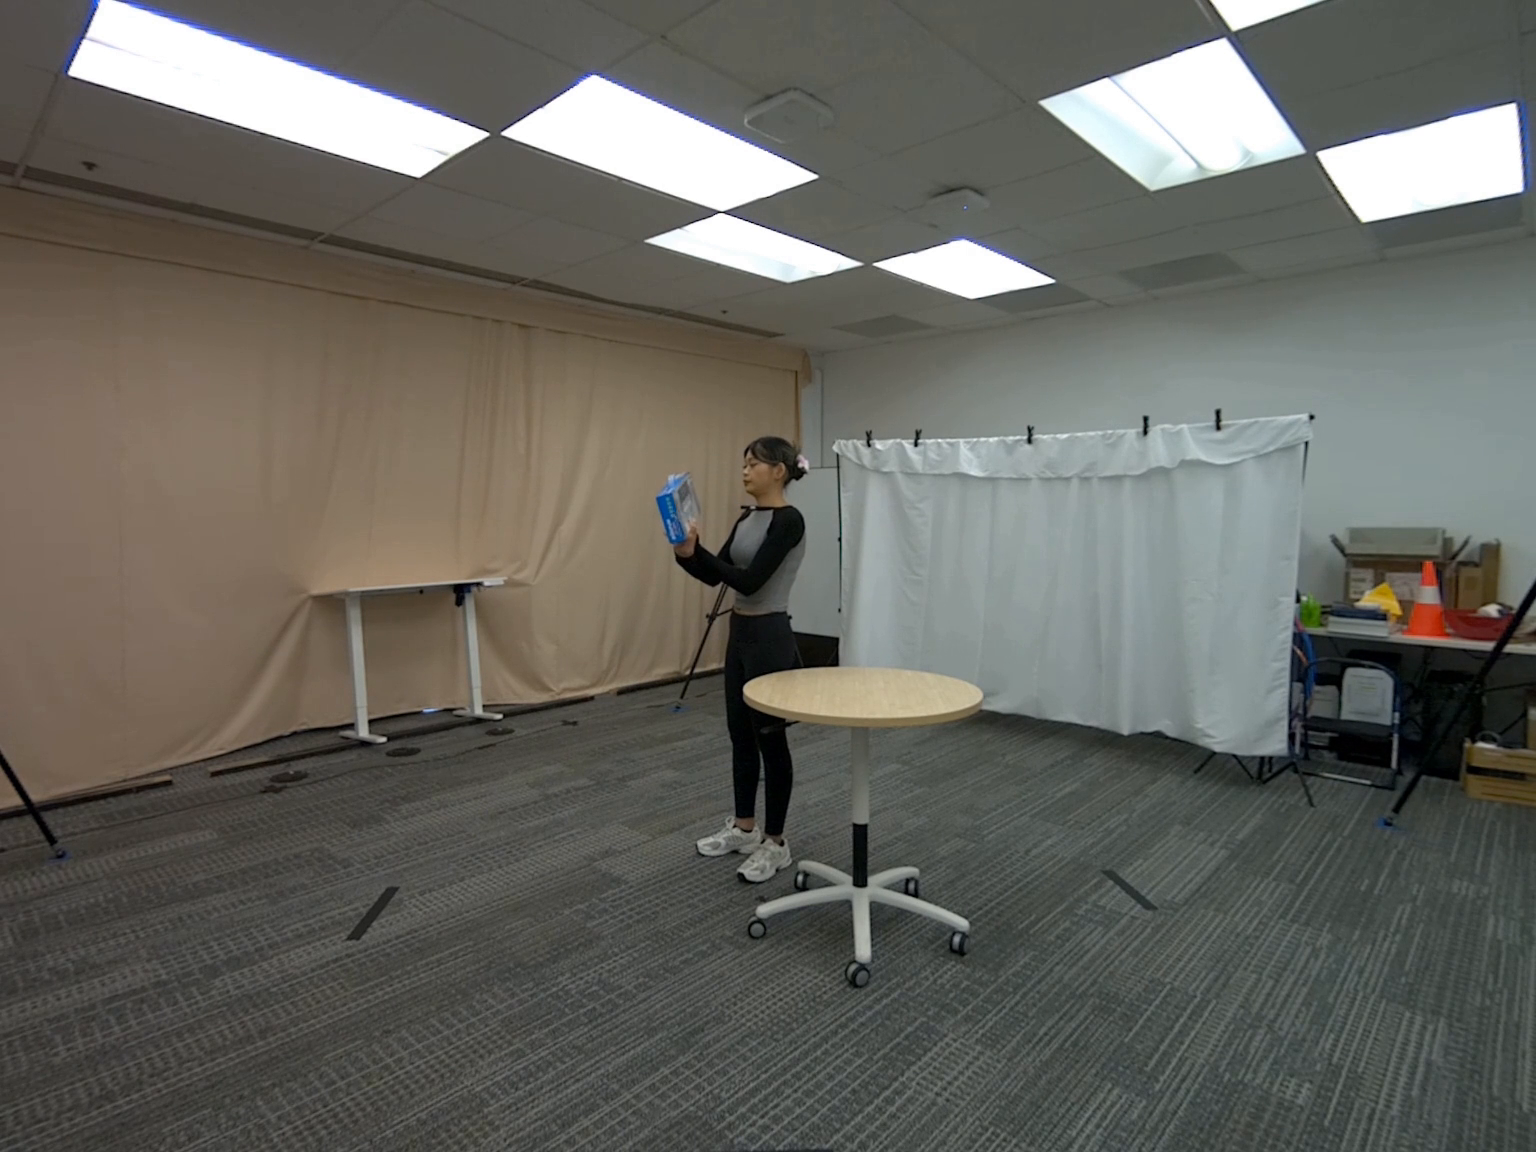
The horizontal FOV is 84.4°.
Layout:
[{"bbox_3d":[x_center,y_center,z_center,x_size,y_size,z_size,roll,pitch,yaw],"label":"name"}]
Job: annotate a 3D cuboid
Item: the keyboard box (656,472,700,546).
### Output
[{"bbox_3d":[-0.317,-0.258,3.087,0.059,0.174,0.439,-13,16,5],"label":"keyboard box"}]
